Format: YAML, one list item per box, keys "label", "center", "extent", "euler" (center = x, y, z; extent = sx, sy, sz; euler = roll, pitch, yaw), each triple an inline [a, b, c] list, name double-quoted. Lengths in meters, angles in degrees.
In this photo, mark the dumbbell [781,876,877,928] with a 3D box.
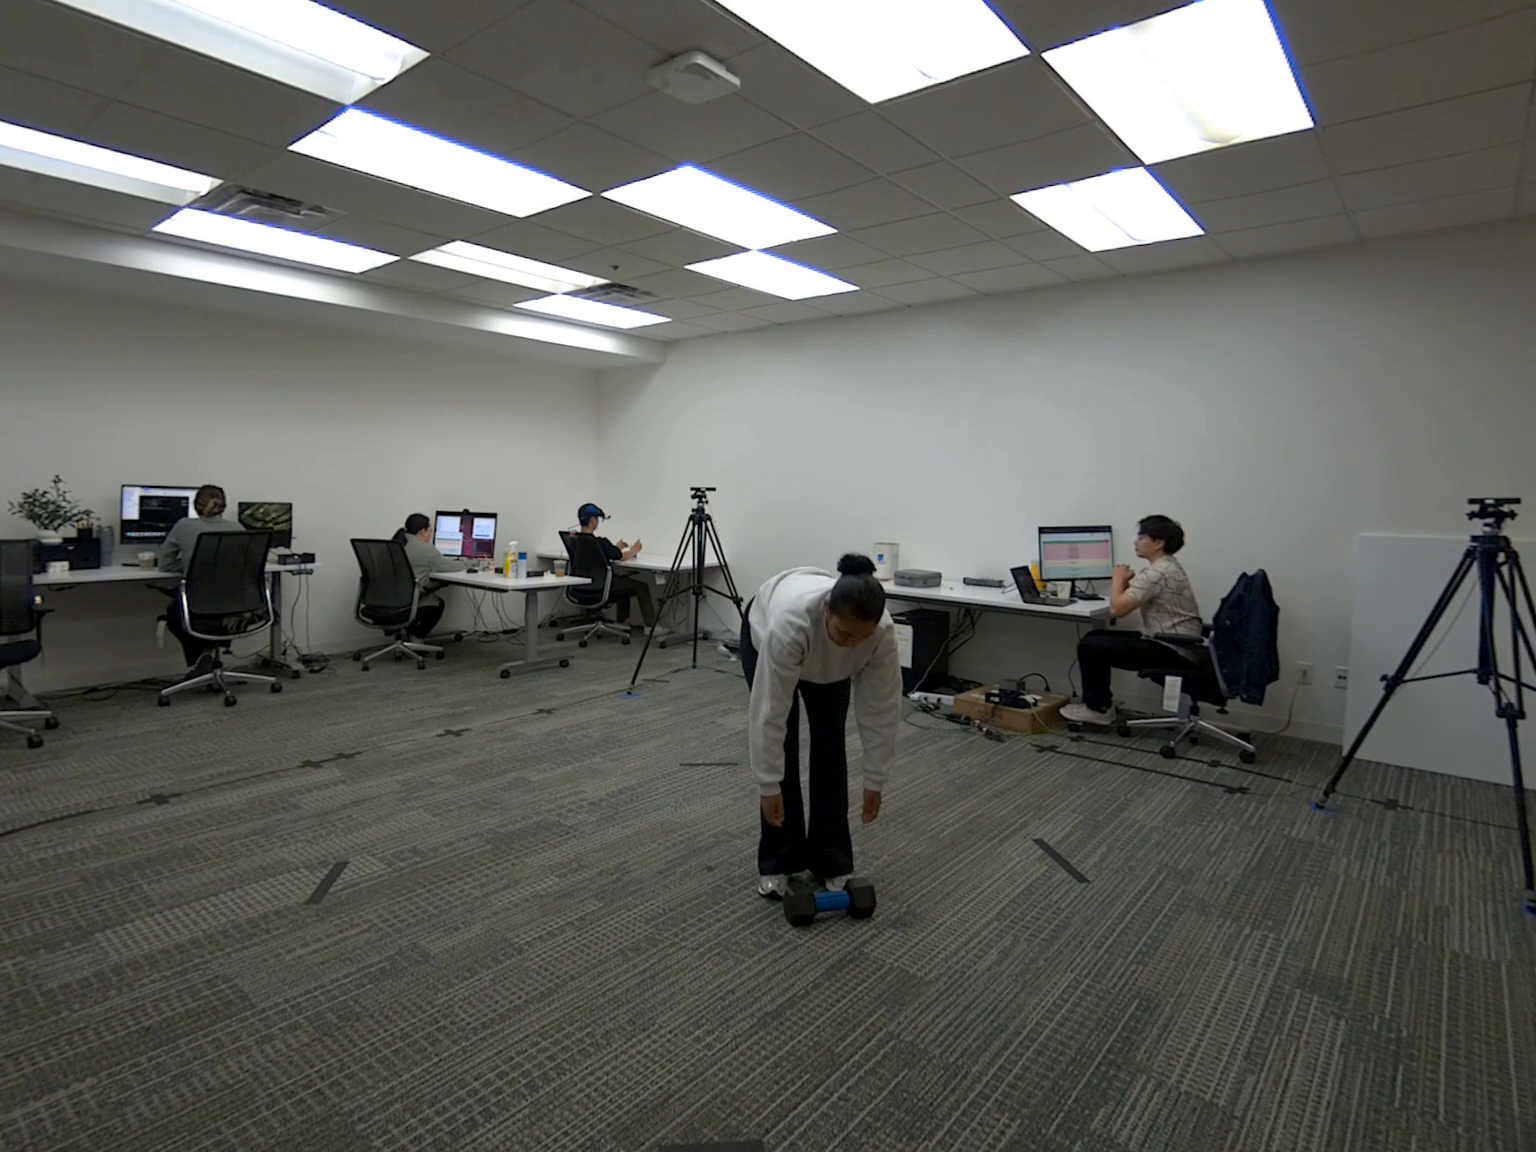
- label: "dumbbell"
  center: [0.195, 1.054, 2.769]
  extent: [0.288, 0.126, 0.108]
  euler: [0, -25, -17]
